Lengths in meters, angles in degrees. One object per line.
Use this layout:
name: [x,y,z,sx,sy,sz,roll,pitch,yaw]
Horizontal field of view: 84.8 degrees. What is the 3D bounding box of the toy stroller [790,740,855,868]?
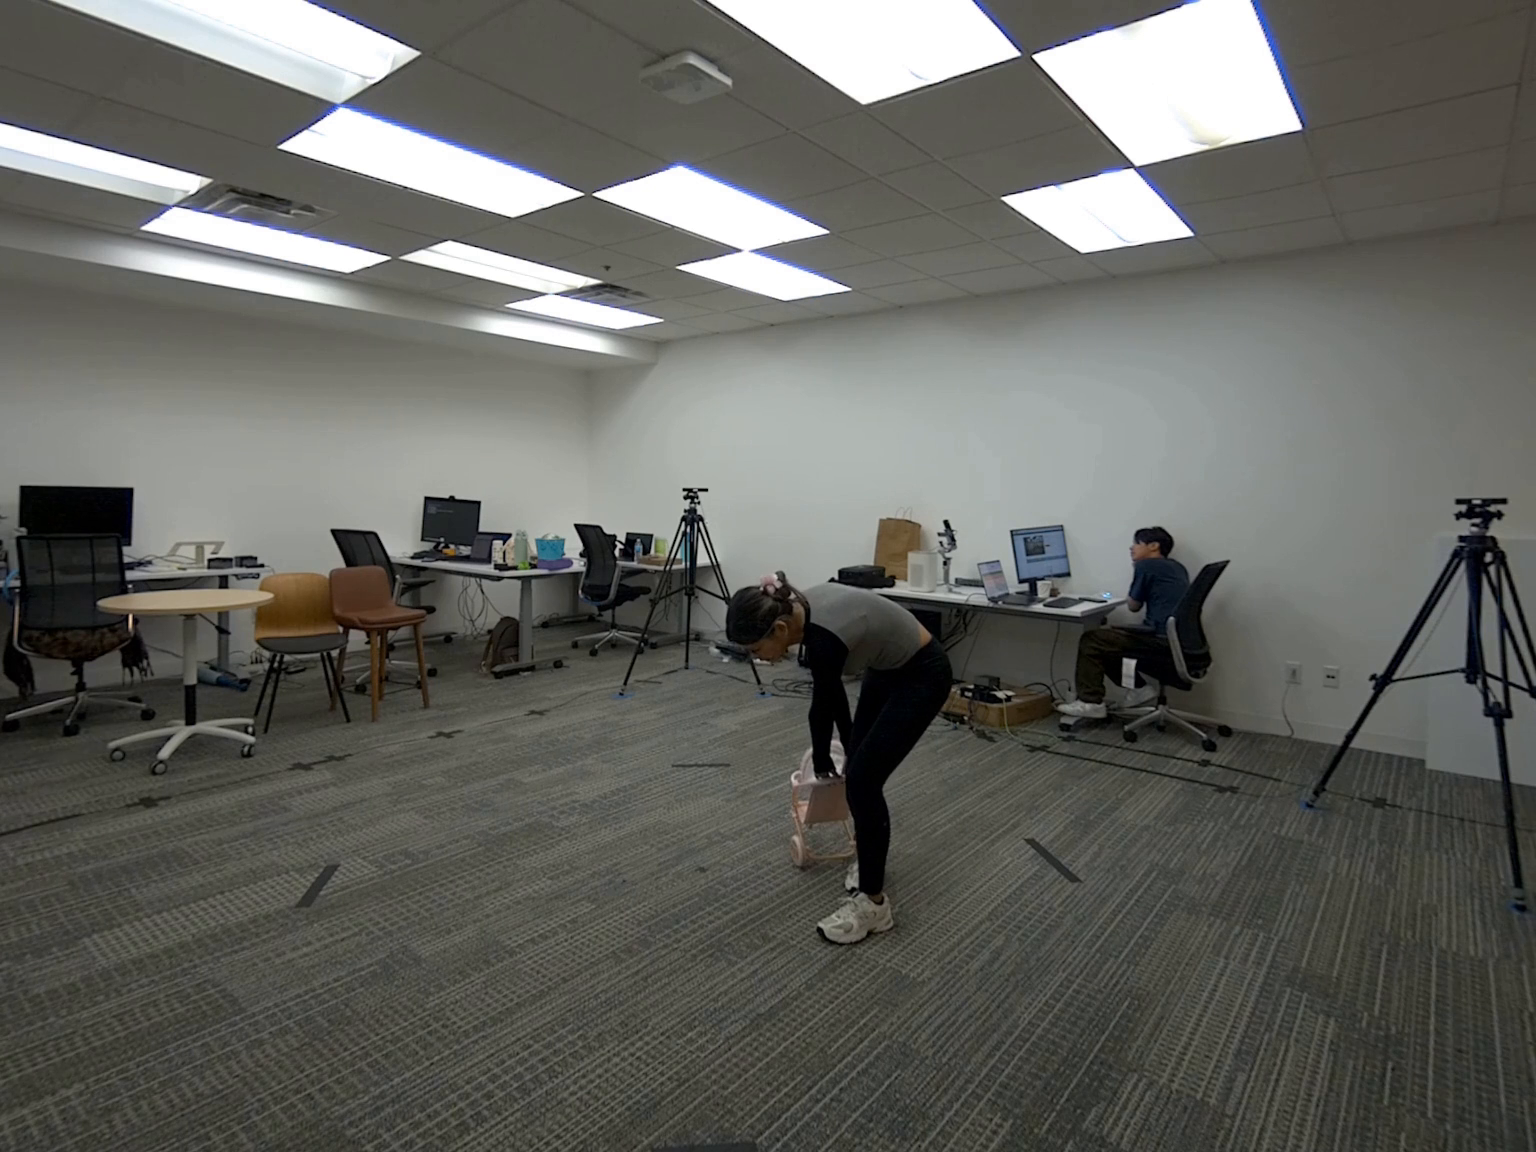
toy stroller: [0.211,0.834,3.211,0.279,0.524,0.352,0,27,-10]
